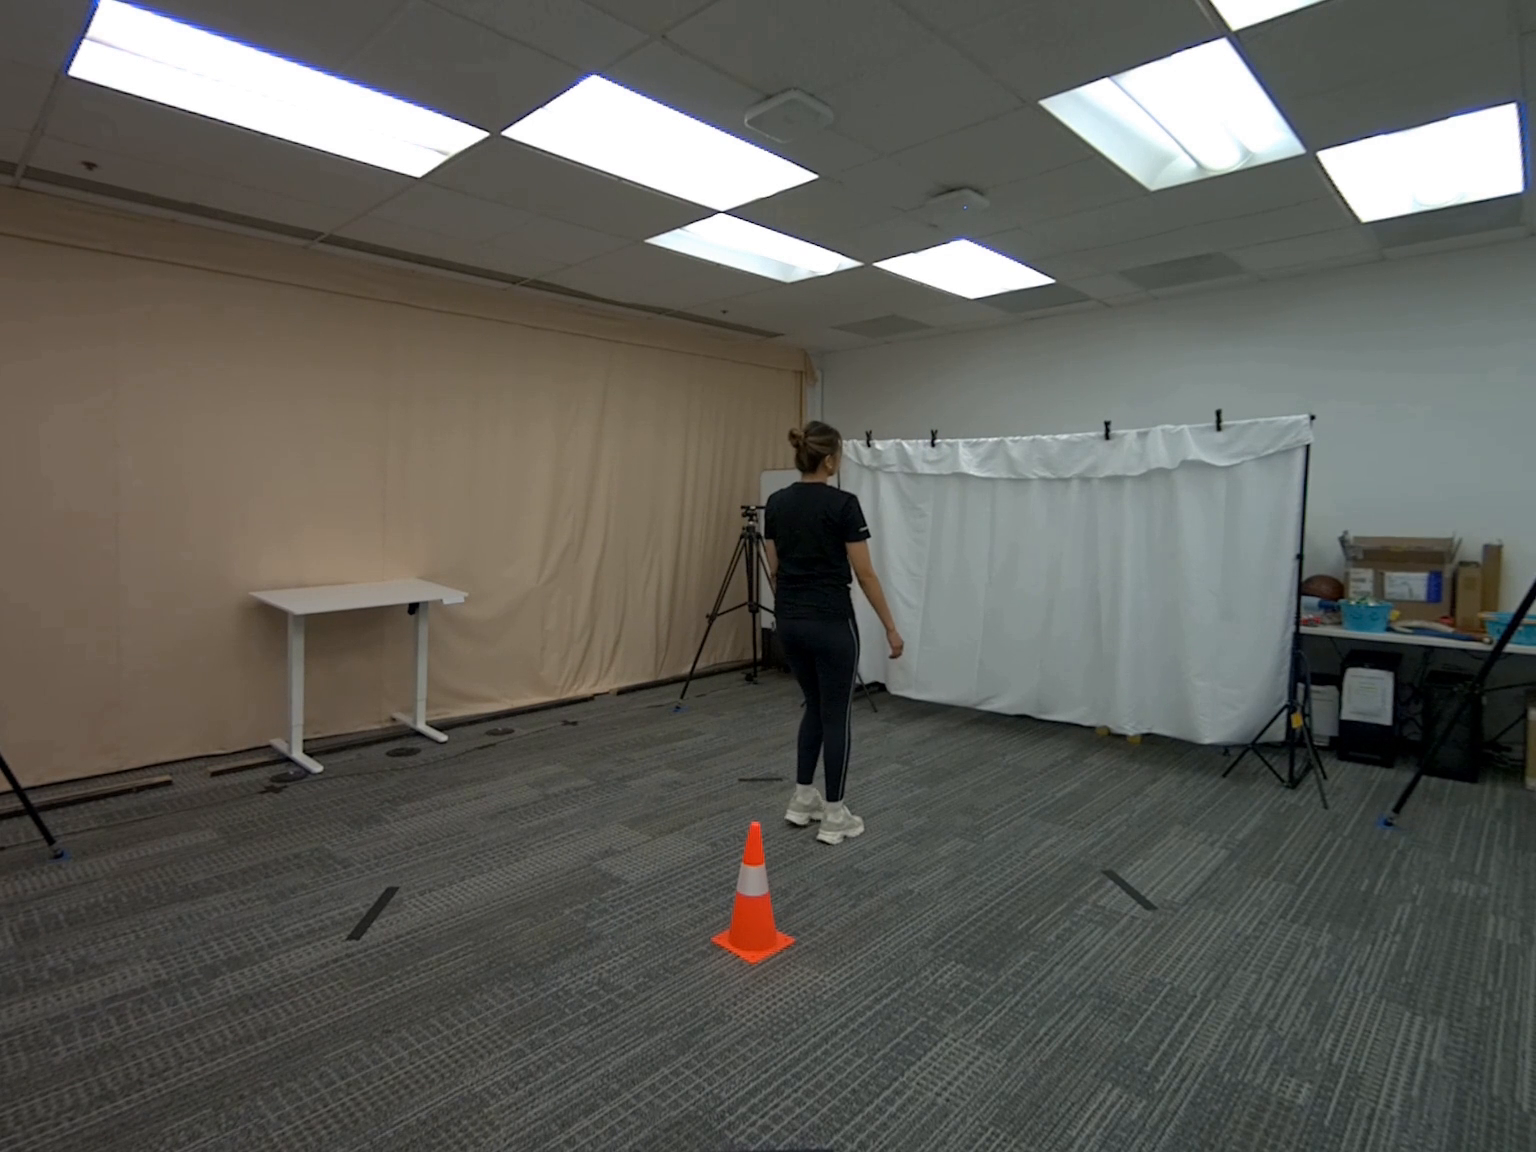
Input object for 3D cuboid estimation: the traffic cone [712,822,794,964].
[{"bbox_3d":[-0.044,0.987,2.682,0.197,0.383,0.211,-2,4,-36],"label":"traffic cone"}]
